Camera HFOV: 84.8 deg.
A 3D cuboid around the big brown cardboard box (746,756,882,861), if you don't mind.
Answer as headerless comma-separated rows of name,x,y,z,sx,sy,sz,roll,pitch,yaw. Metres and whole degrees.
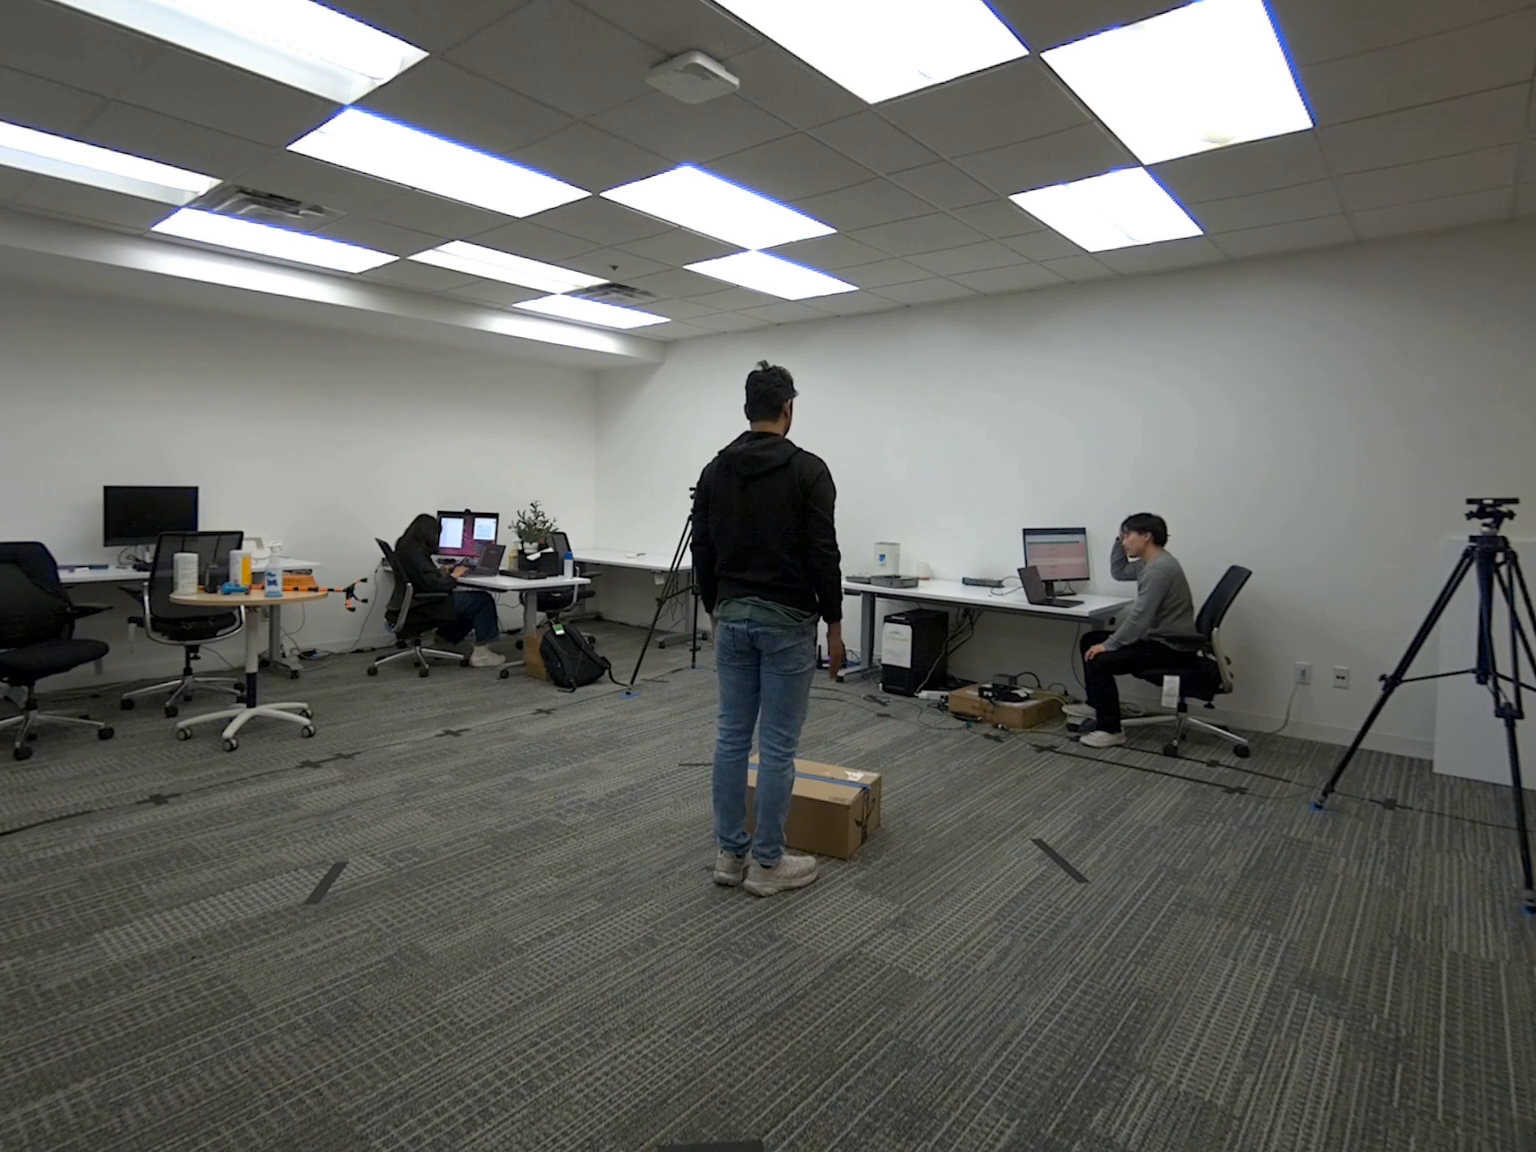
big brown cardboard box,0.127,0.924,3.494,0.604,0.232,0.408,3,5,25
